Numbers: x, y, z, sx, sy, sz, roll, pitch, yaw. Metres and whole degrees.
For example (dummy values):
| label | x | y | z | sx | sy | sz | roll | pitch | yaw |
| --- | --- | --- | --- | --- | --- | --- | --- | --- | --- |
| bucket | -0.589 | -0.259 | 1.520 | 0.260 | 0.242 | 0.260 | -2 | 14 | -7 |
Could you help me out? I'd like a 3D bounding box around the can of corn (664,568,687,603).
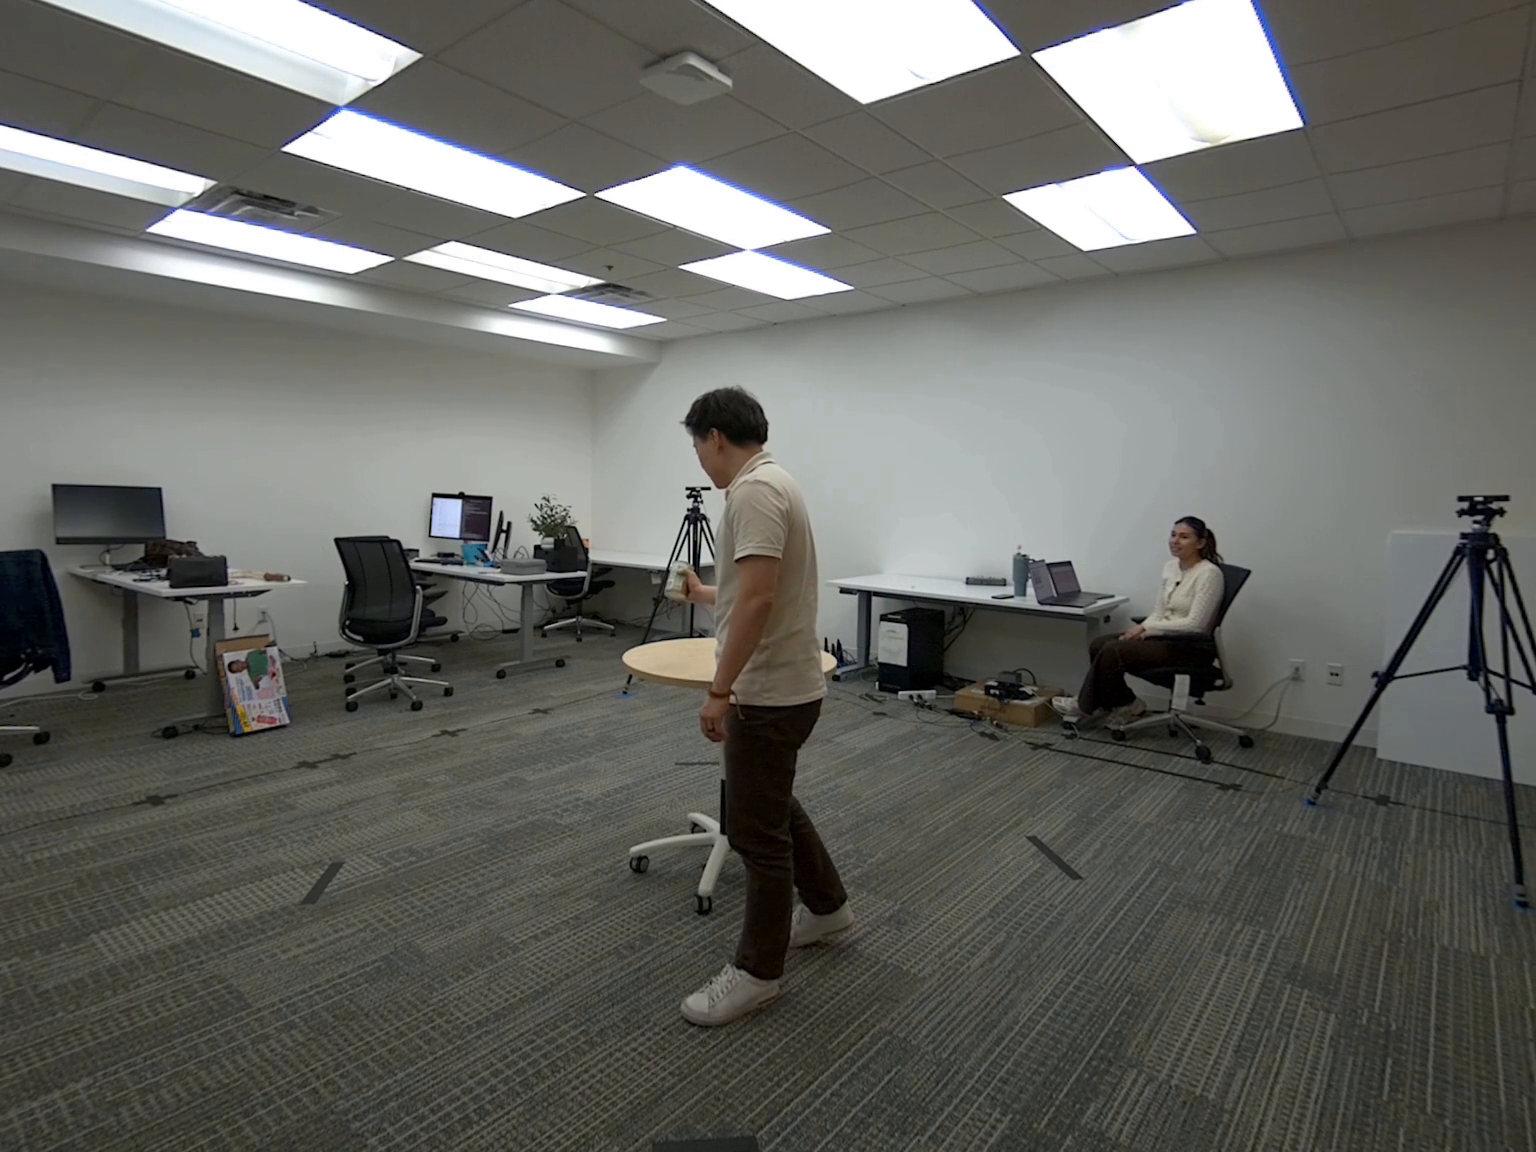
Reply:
| label | x | y | z | sx | sy | sz | roll | pitch | yaw |
| --- | --- | --- | --- | --- | --- | --- | --- | --- | --- |
| can of corn | -0.296 | 0.012 | 2.797 | 0.074 | 0.112 | 0.073 | 8 | -16 | 0 |
